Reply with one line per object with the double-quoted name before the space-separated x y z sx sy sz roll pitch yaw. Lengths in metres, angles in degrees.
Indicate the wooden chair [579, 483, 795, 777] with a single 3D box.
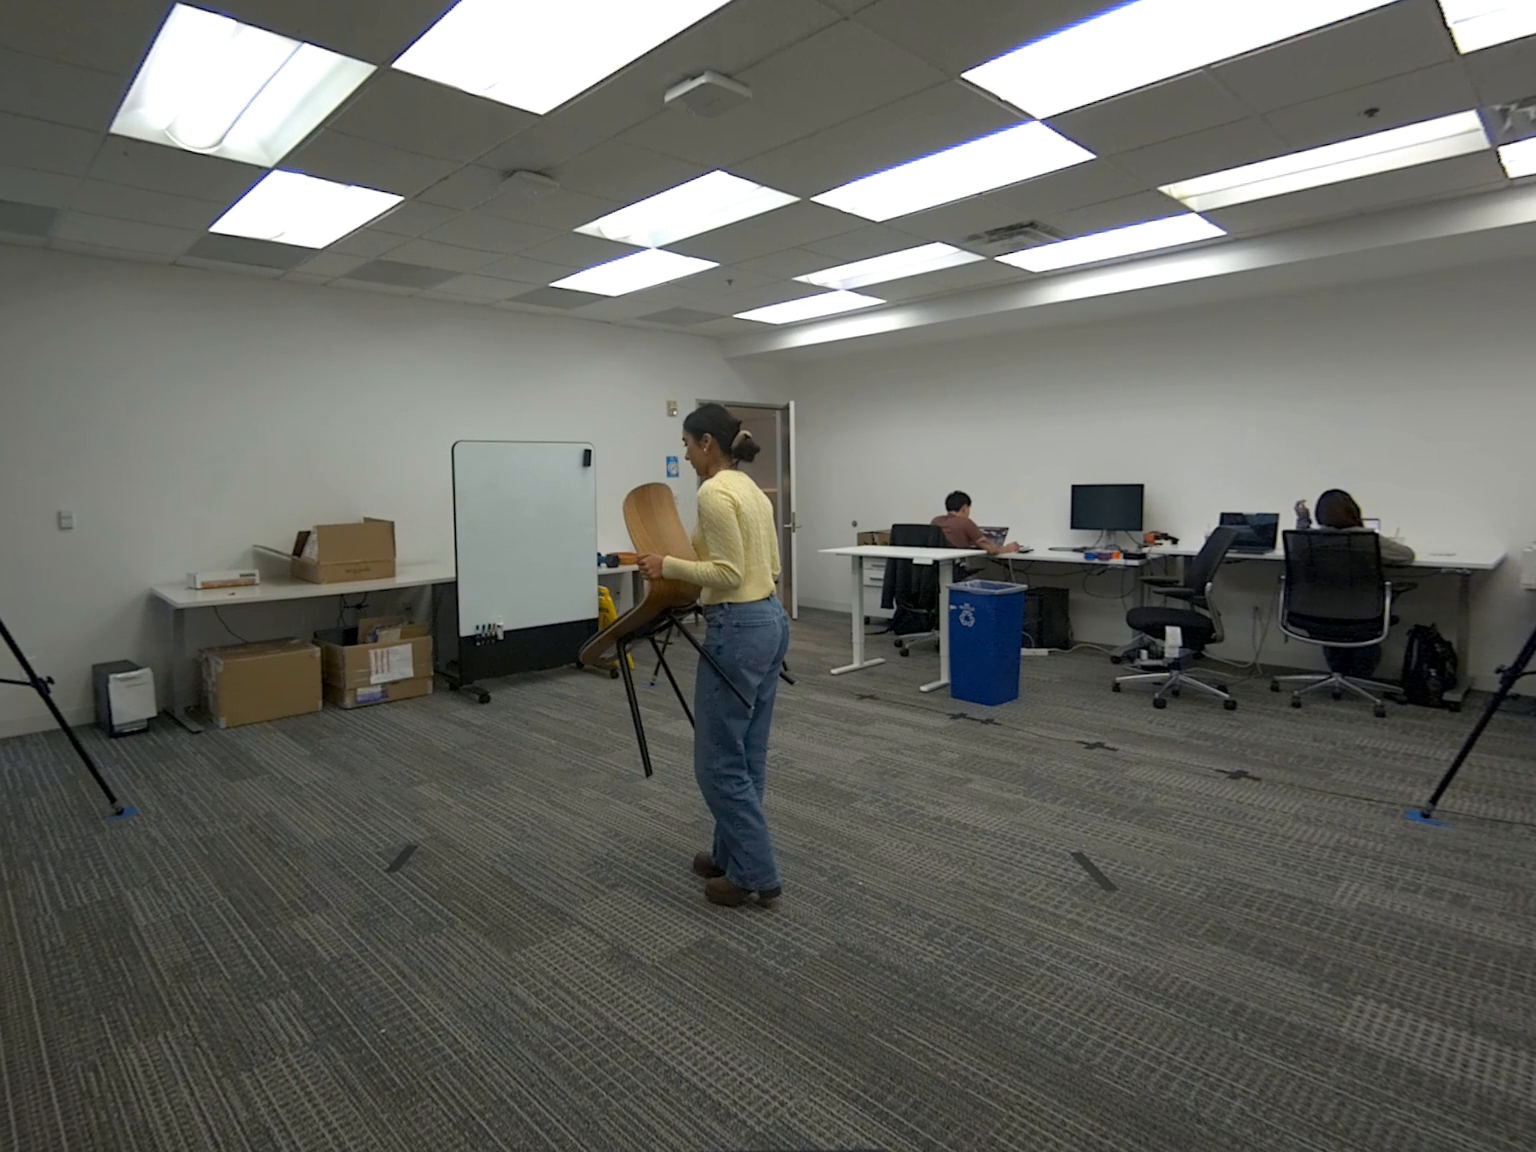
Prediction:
"wooden chair" -0.386 0.176 3.029 0.526 0.888 0.469 -33 -10 20
